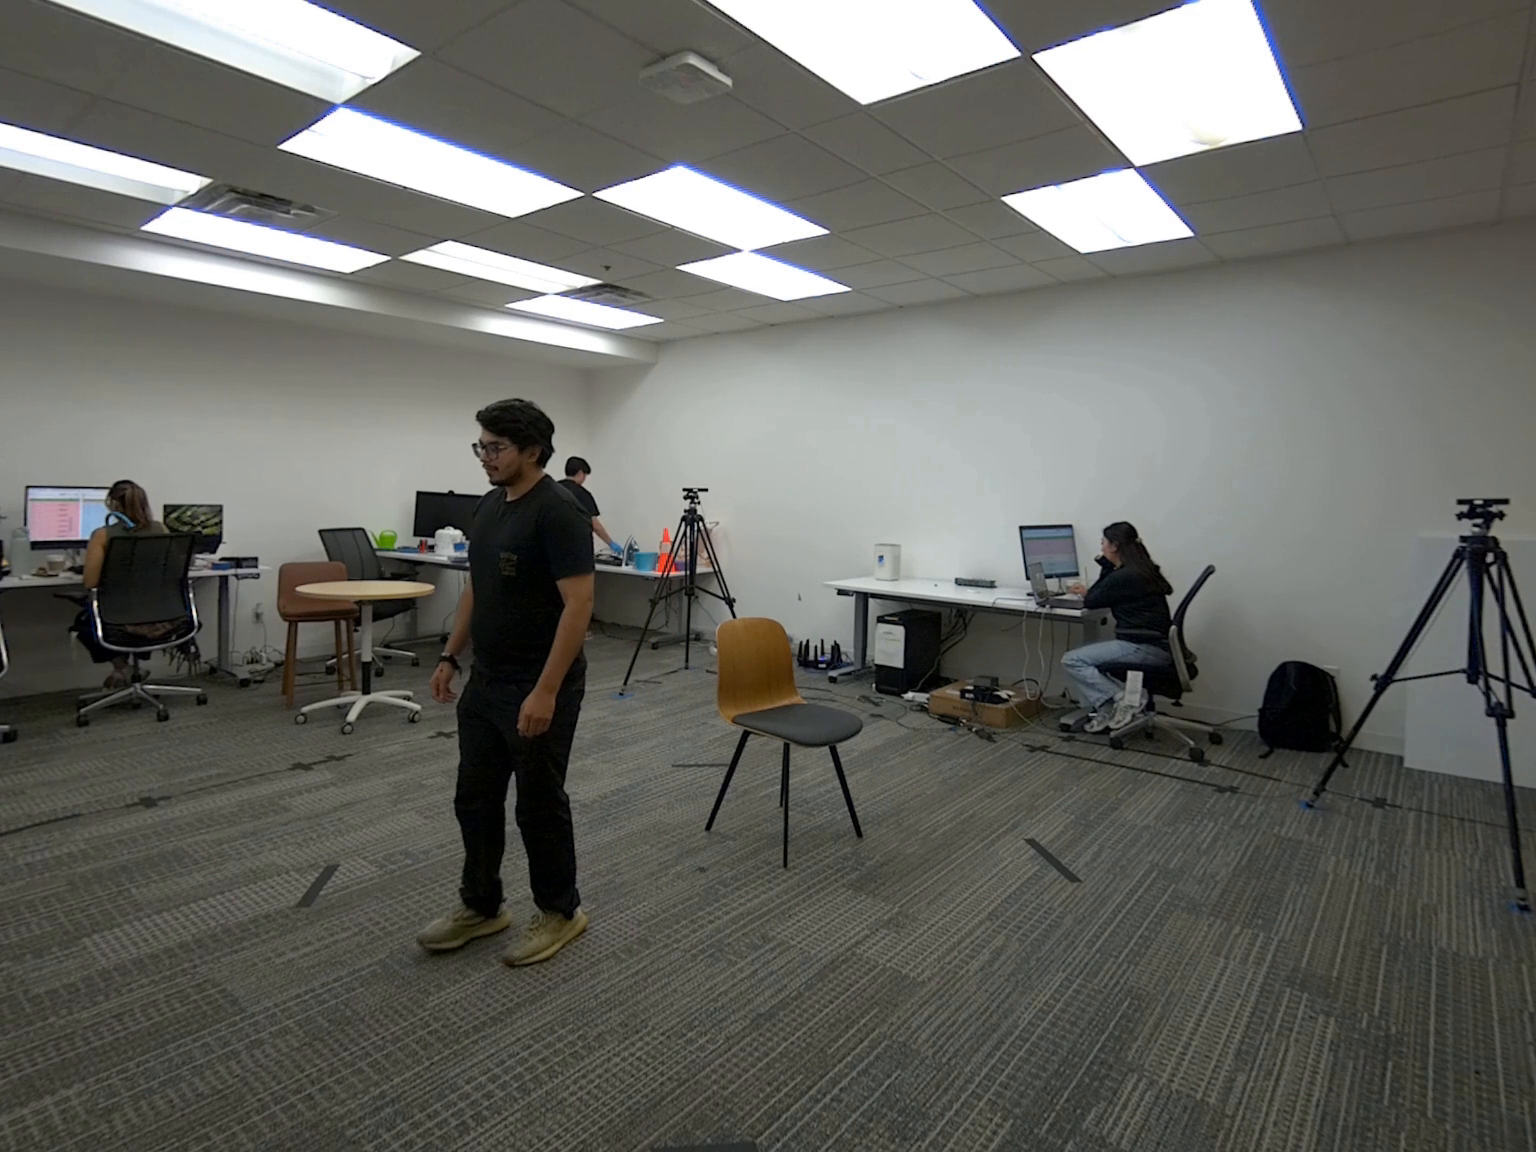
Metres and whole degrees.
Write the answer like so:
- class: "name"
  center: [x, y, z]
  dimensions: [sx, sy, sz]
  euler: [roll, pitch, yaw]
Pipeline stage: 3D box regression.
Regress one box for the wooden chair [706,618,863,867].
- class: "wooden chair"
  center: [0.071, 0.618, 3.416]
  dimensions: [0.463, 0.878, 0.539]
  euler: [-2, 0, -44]
